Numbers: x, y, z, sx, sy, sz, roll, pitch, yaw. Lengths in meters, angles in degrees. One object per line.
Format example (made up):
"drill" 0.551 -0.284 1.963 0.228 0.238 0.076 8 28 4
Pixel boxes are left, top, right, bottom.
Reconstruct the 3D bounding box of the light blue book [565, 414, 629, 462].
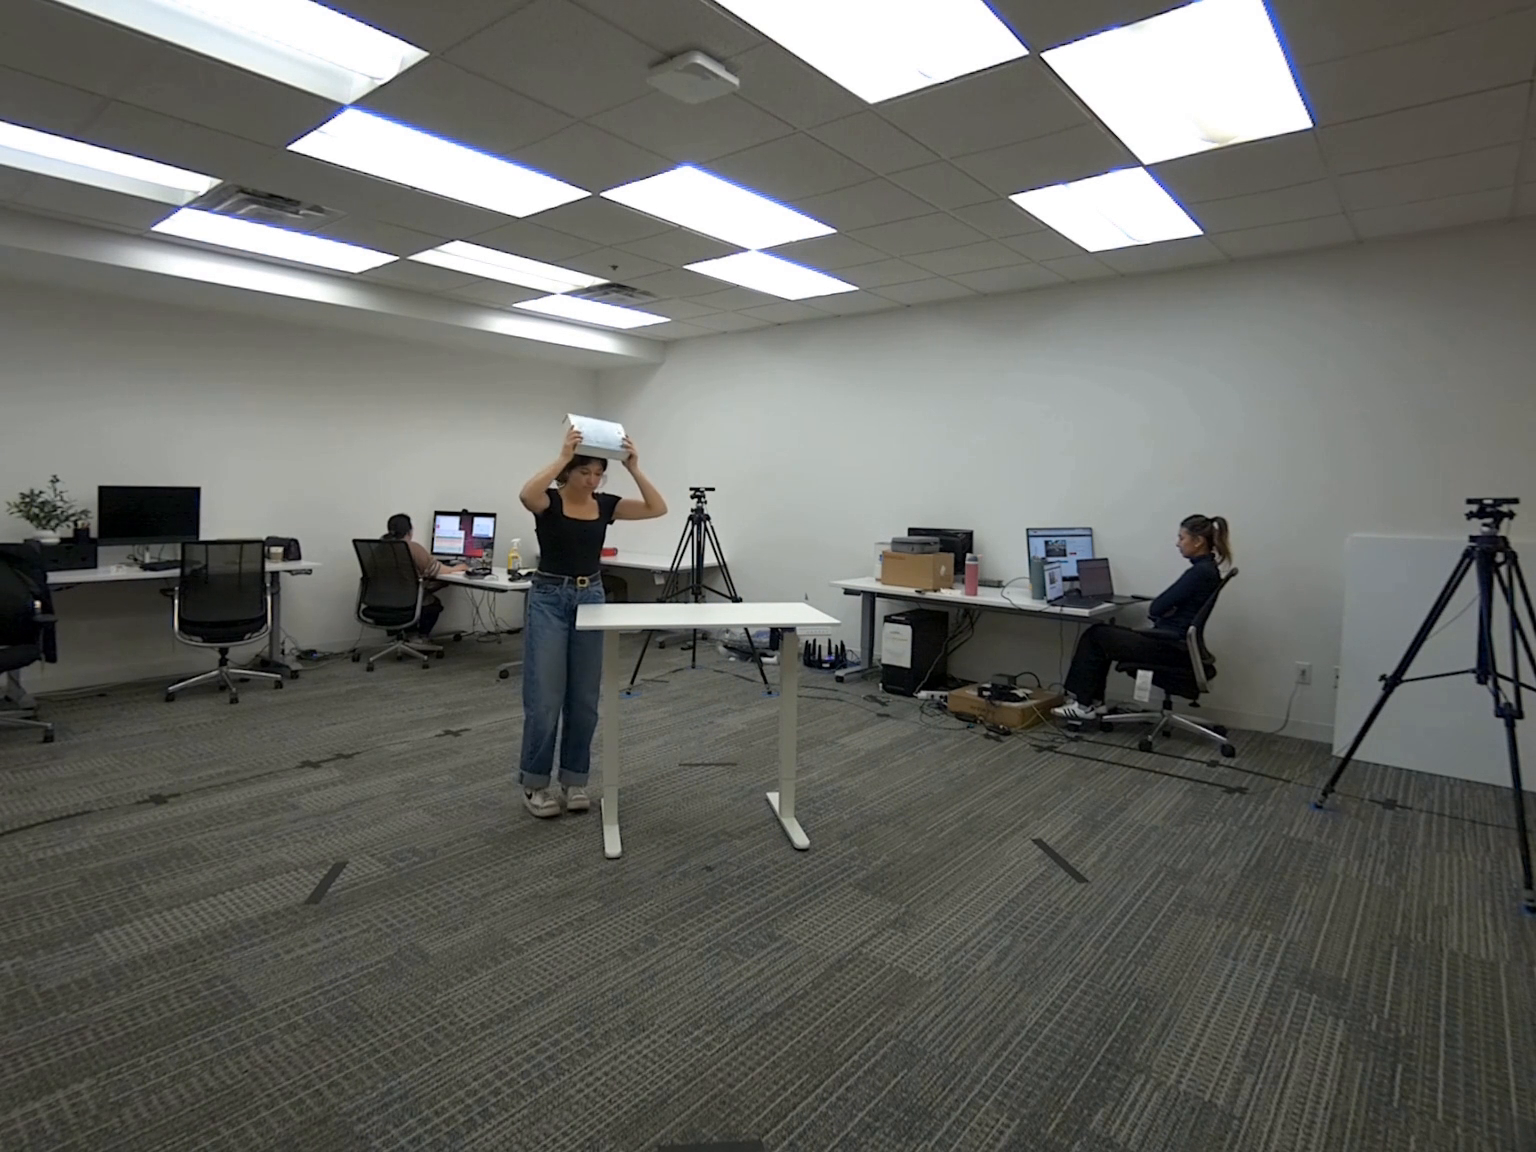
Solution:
"light blue book" -0.740 -0.590 3.636 0.253 0.199 0.059 5 -45 -35
